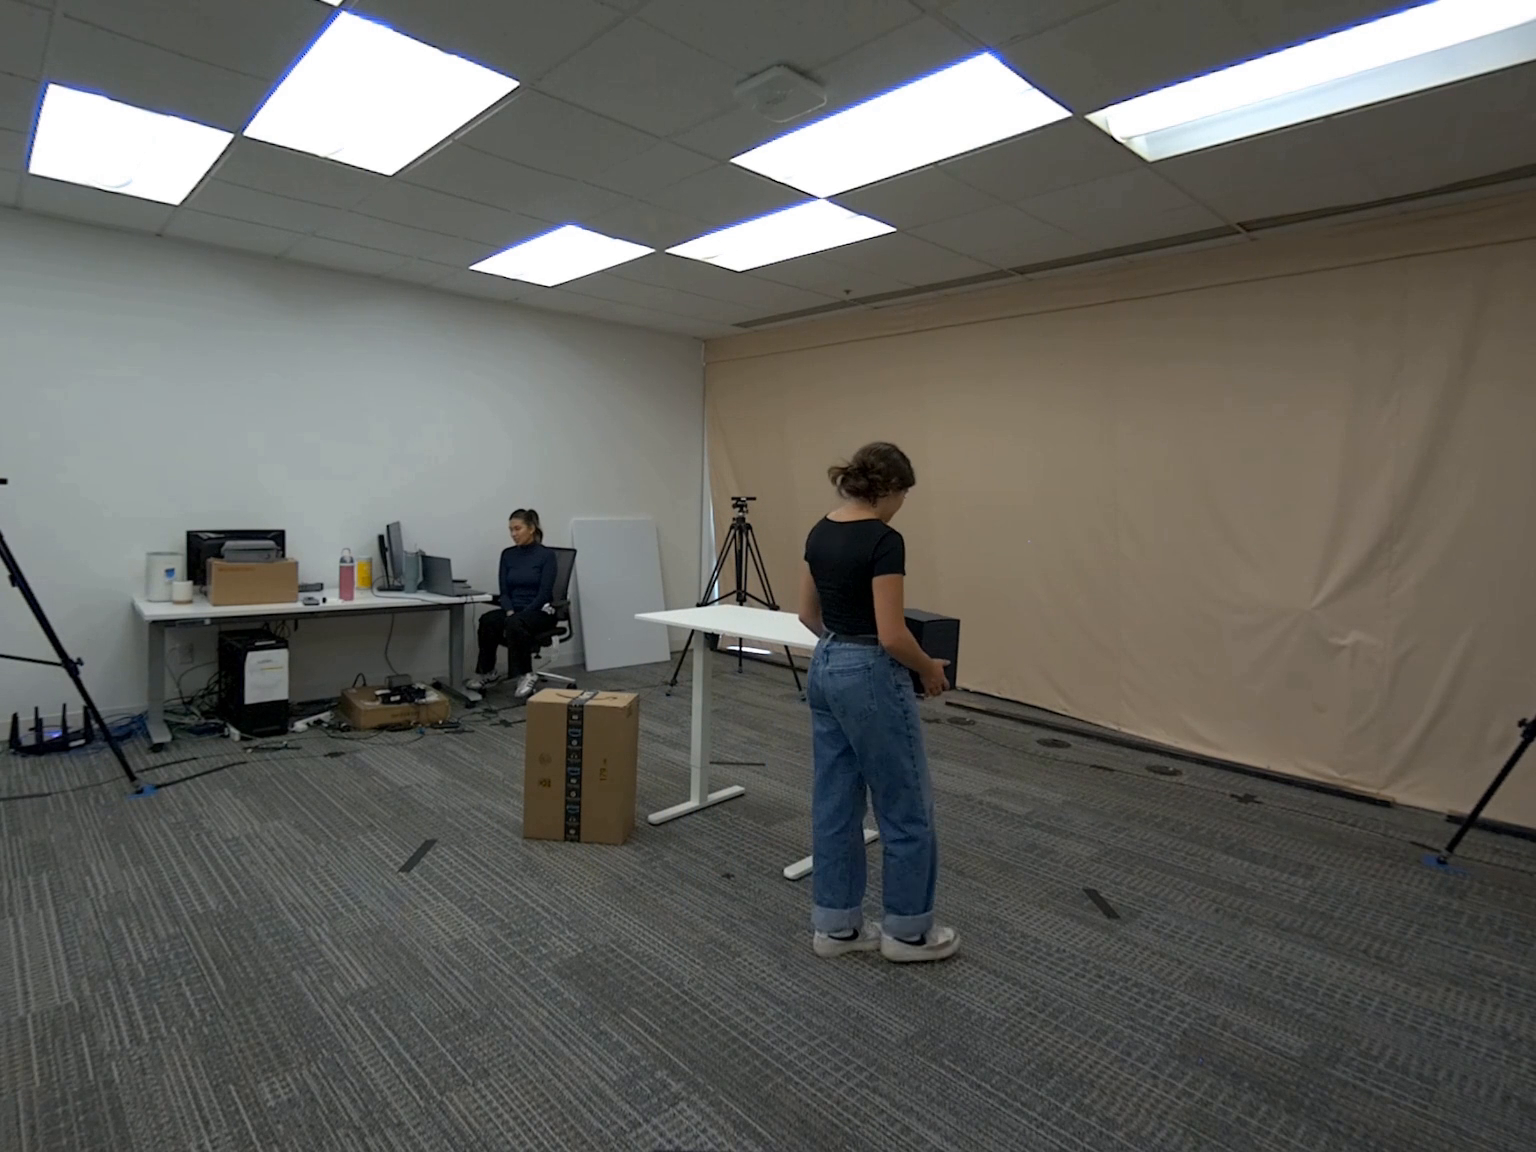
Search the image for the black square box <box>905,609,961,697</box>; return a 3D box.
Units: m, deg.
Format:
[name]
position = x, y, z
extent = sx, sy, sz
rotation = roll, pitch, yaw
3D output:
[black square box]
position = 0.472, 0.234, 2.691
extent = 0.152, 0.227, 0.222
rotation = -1, 6, -33
